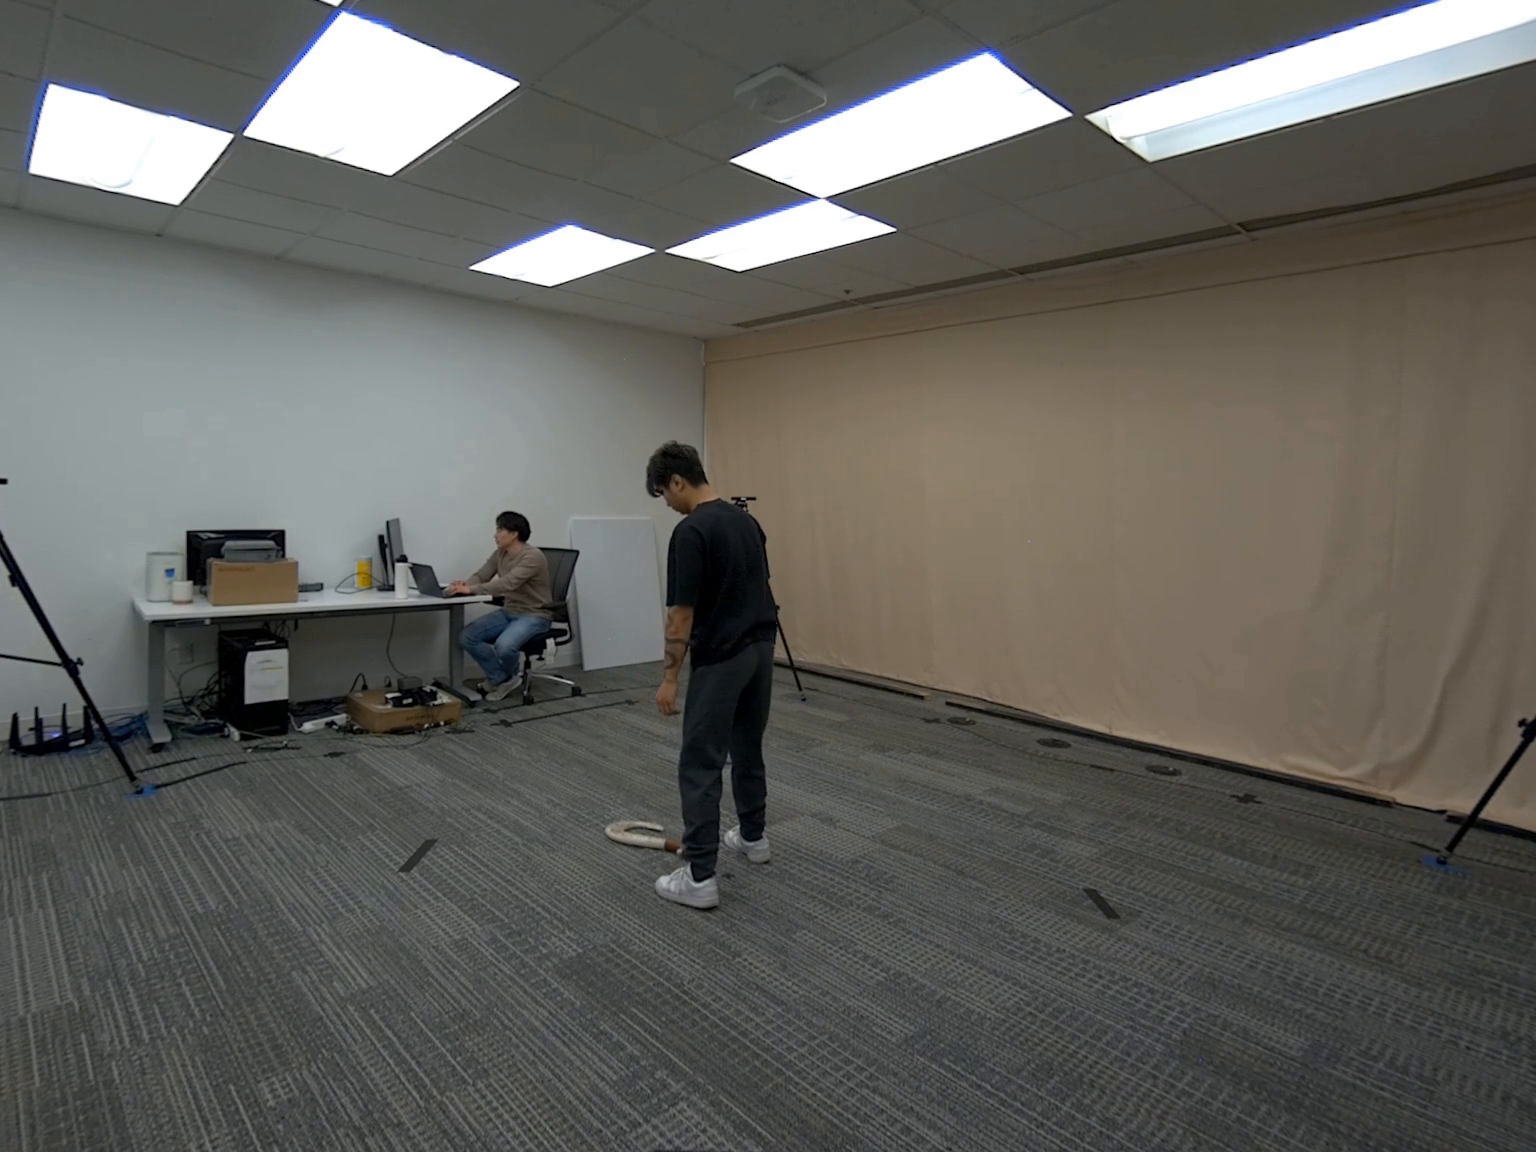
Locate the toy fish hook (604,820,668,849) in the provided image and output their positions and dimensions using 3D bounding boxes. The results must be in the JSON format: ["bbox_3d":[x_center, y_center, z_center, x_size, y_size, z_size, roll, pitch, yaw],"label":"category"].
[{"bbox_3d":[-0.434,1.055,3.385,0.518,0.048,0.220,5,7,31],"label":"toy fish hook"}]
